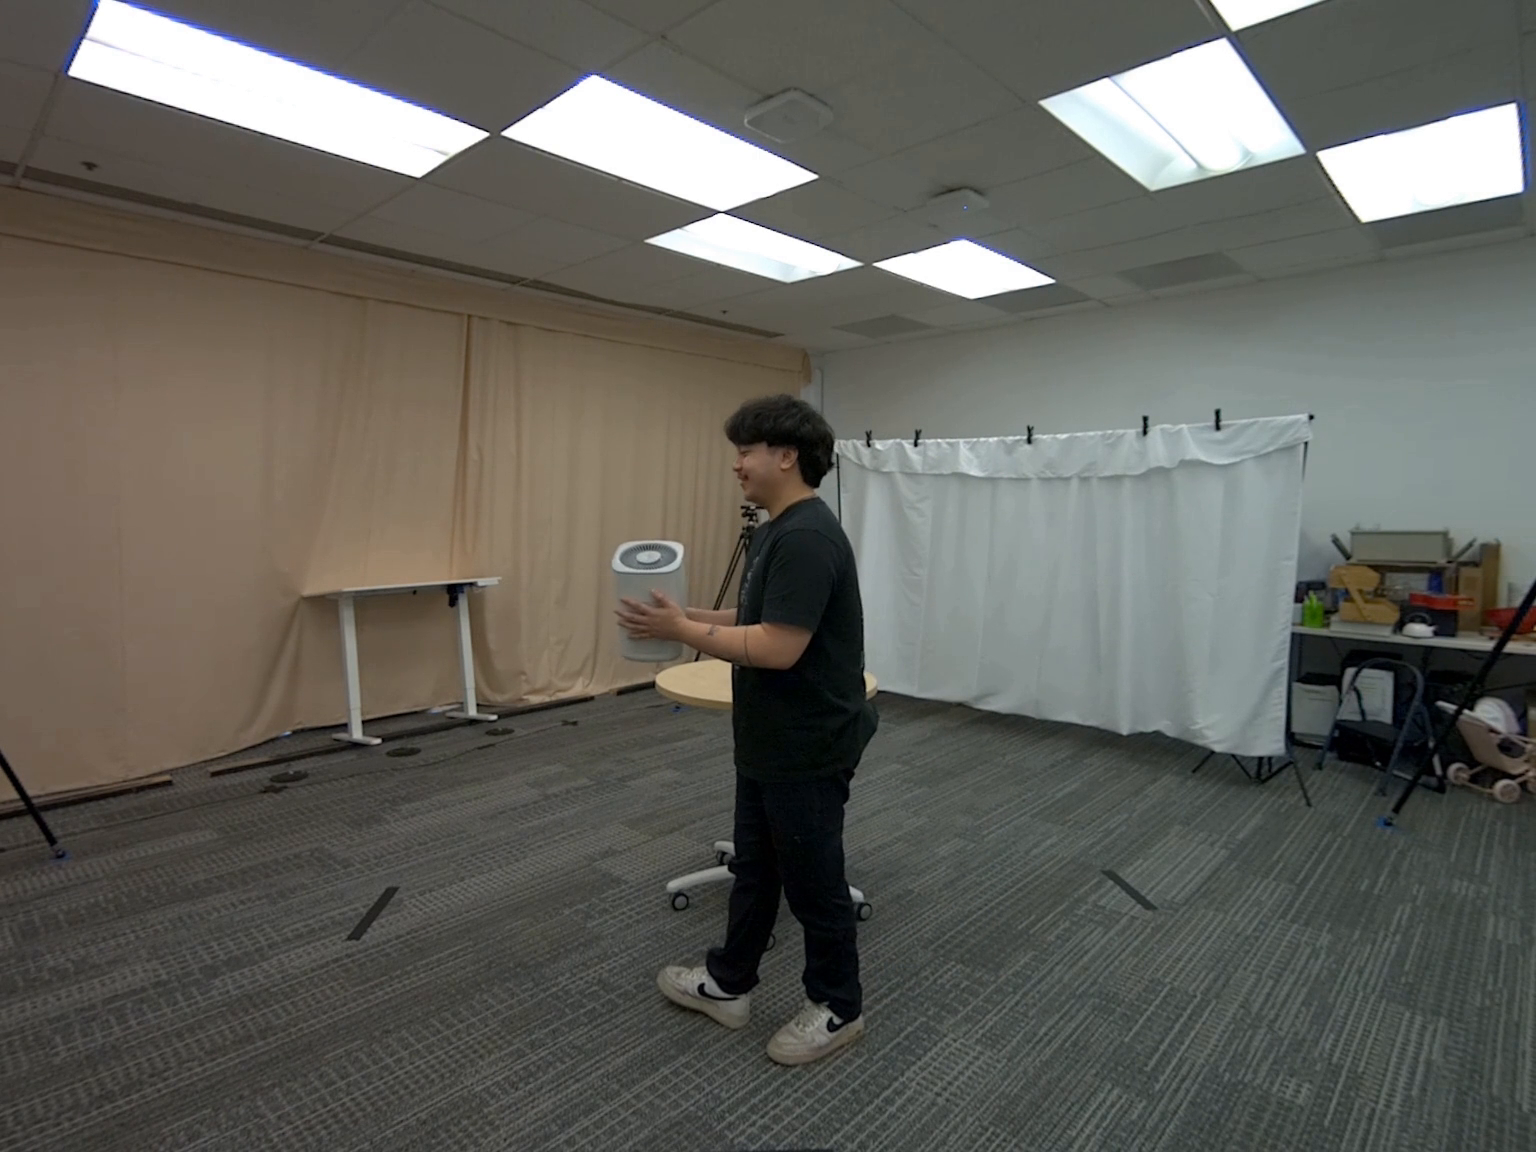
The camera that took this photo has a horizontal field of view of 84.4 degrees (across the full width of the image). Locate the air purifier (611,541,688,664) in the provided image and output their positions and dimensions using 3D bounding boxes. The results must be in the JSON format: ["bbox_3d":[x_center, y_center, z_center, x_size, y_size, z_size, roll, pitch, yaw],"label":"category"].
[{"bbox_3d":[-0.290,0.069,2.116,0.172,0.261,0.173,2,27,2],"label":"air purifier"}]
